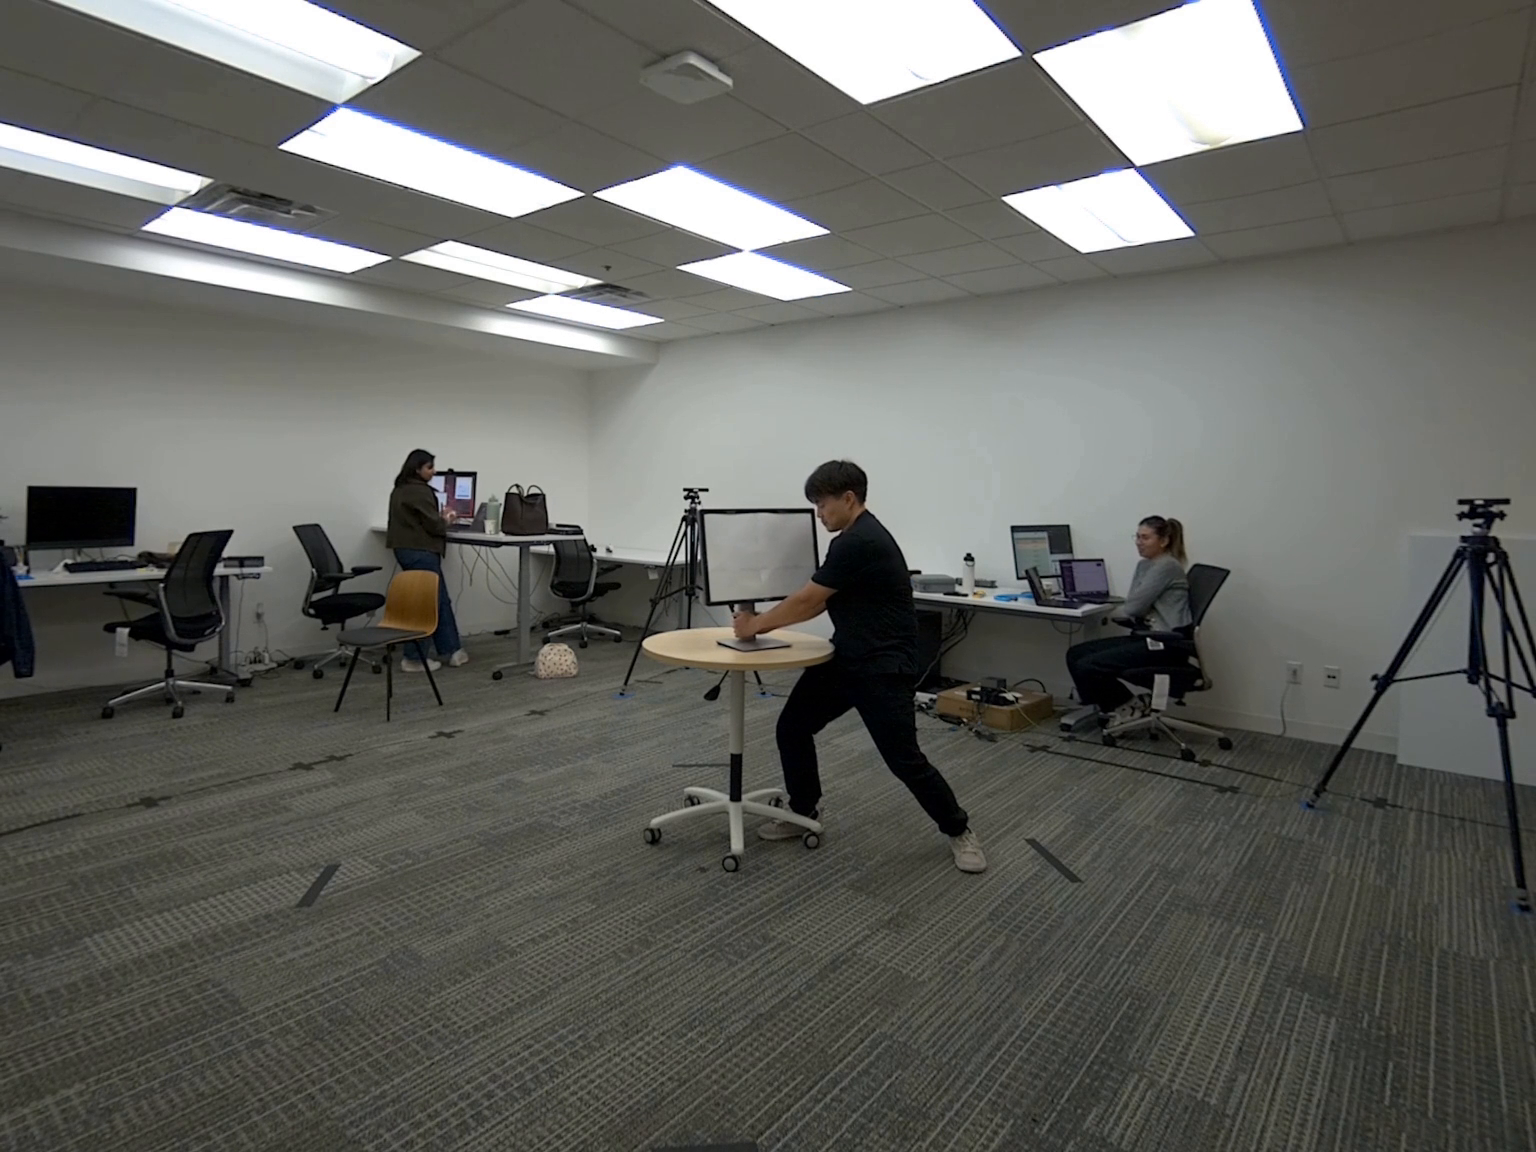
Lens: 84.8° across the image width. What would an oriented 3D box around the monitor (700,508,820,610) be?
[{"bbox_3d":[-0.057,0.006,3.353,0.523,0.521,0.193,-2,5,-36],"label":"monitor"}]
